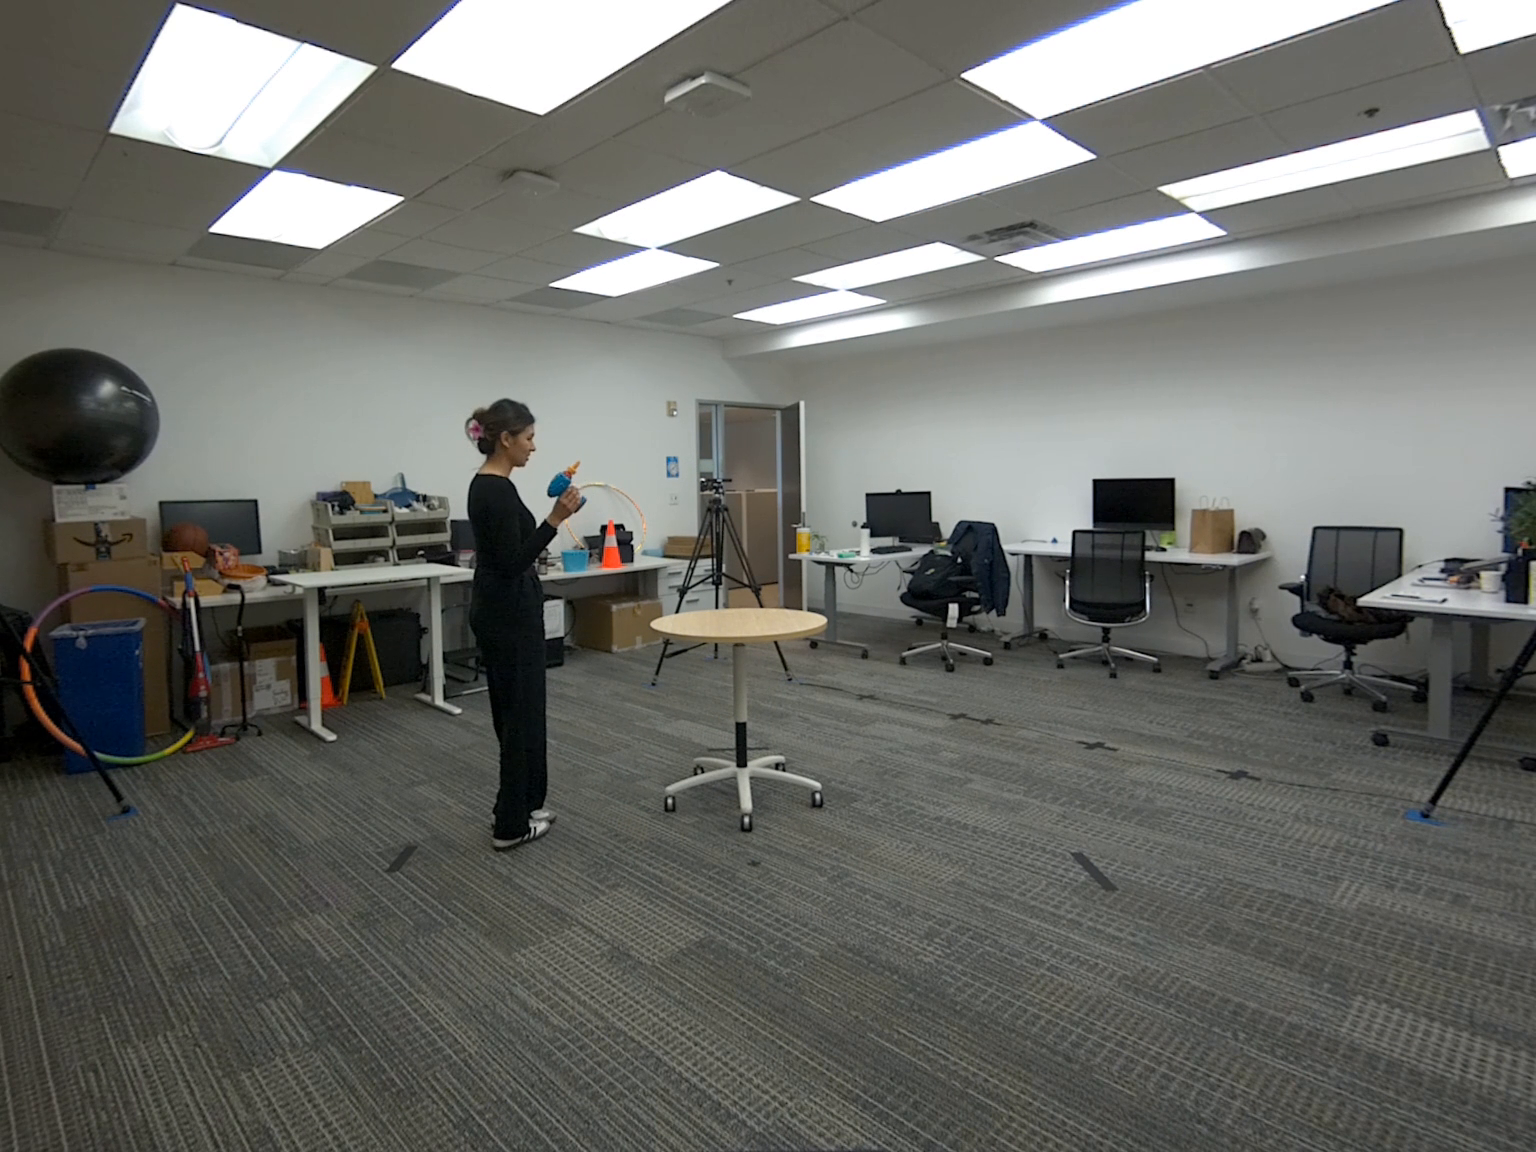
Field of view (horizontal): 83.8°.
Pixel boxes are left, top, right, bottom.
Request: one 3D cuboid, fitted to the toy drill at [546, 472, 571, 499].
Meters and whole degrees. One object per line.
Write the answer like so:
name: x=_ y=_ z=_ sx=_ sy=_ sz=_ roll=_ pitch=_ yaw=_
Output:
toy drill: x=-0.720 y=-0.330 z=3.112 sx=0.142 sy=0.170 sz=0.063 roll=42 pitch=-7 yaw=-22
